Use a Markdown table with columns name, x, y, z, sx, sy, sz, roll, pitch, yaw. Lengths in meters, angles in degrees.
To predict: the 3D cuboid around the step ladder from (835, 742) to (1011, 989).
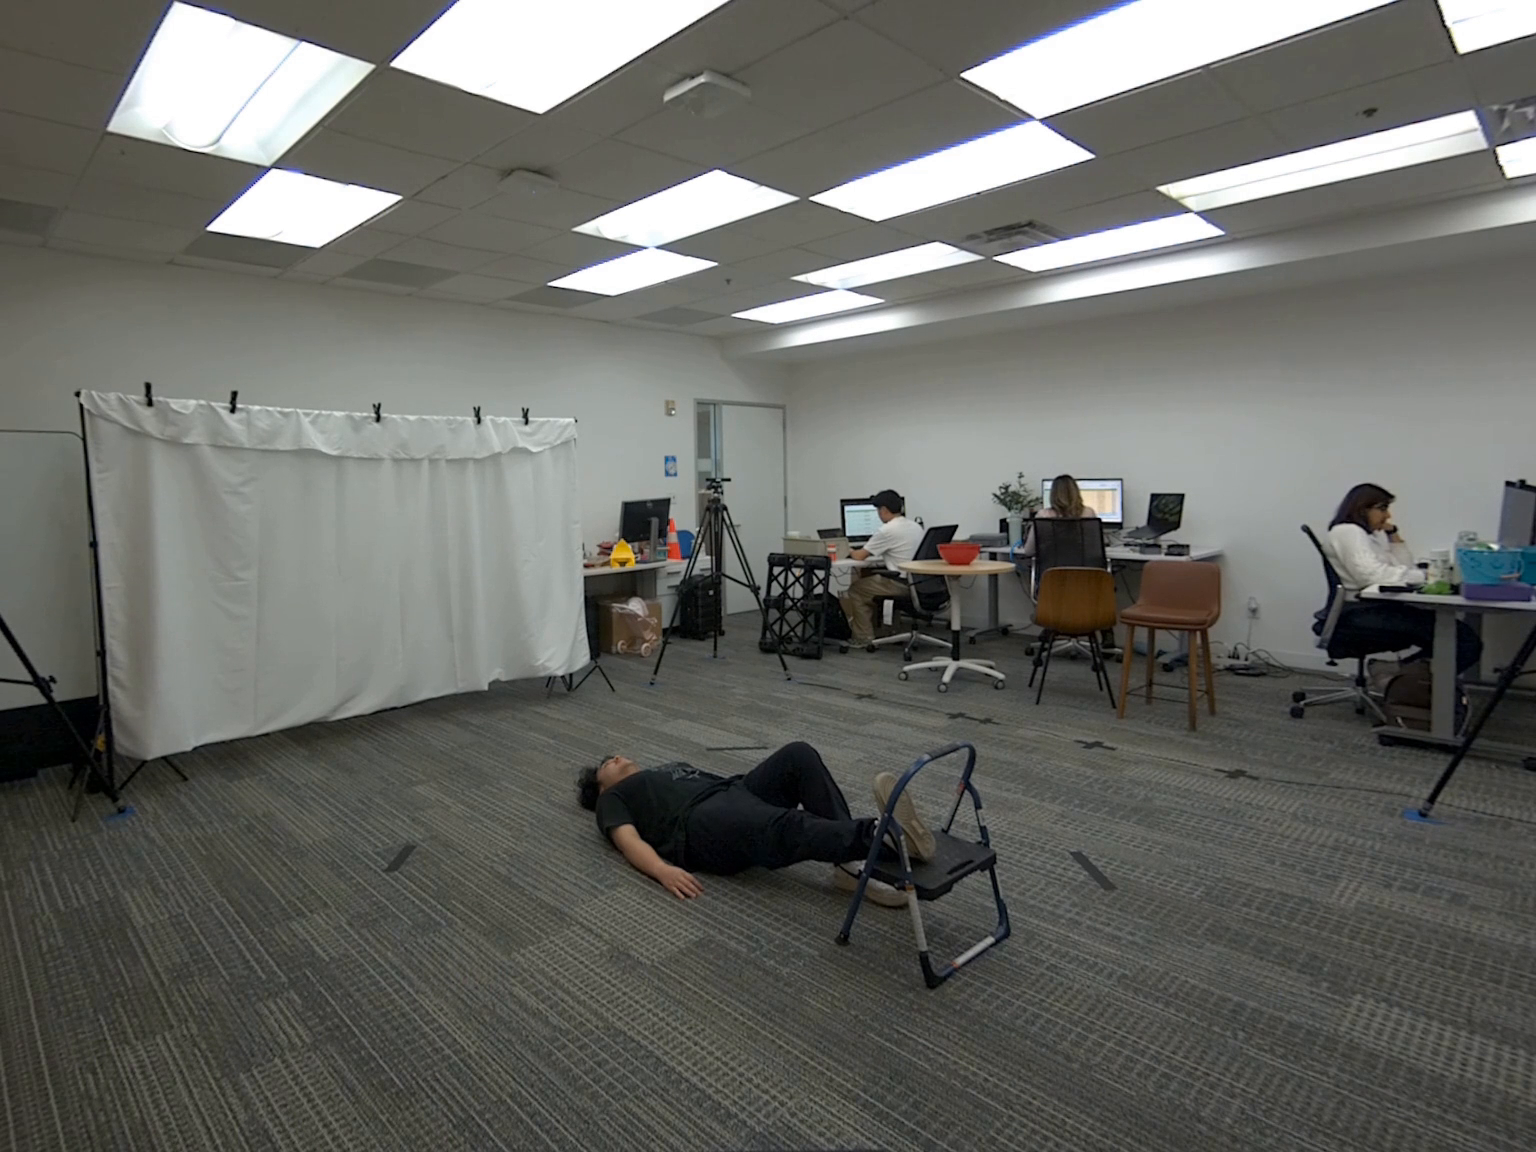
| name | x | y | z | sx | sy | sz | roll | pitch | yaw |
| --- | --- | --- | --- | --- | --- | --- | --- | --- | --- |
| step ladder | 0.475 | 0.798 | 2.556 | 0.419 | 0.603 | 0.360 | -6 | 7 | -44 |
